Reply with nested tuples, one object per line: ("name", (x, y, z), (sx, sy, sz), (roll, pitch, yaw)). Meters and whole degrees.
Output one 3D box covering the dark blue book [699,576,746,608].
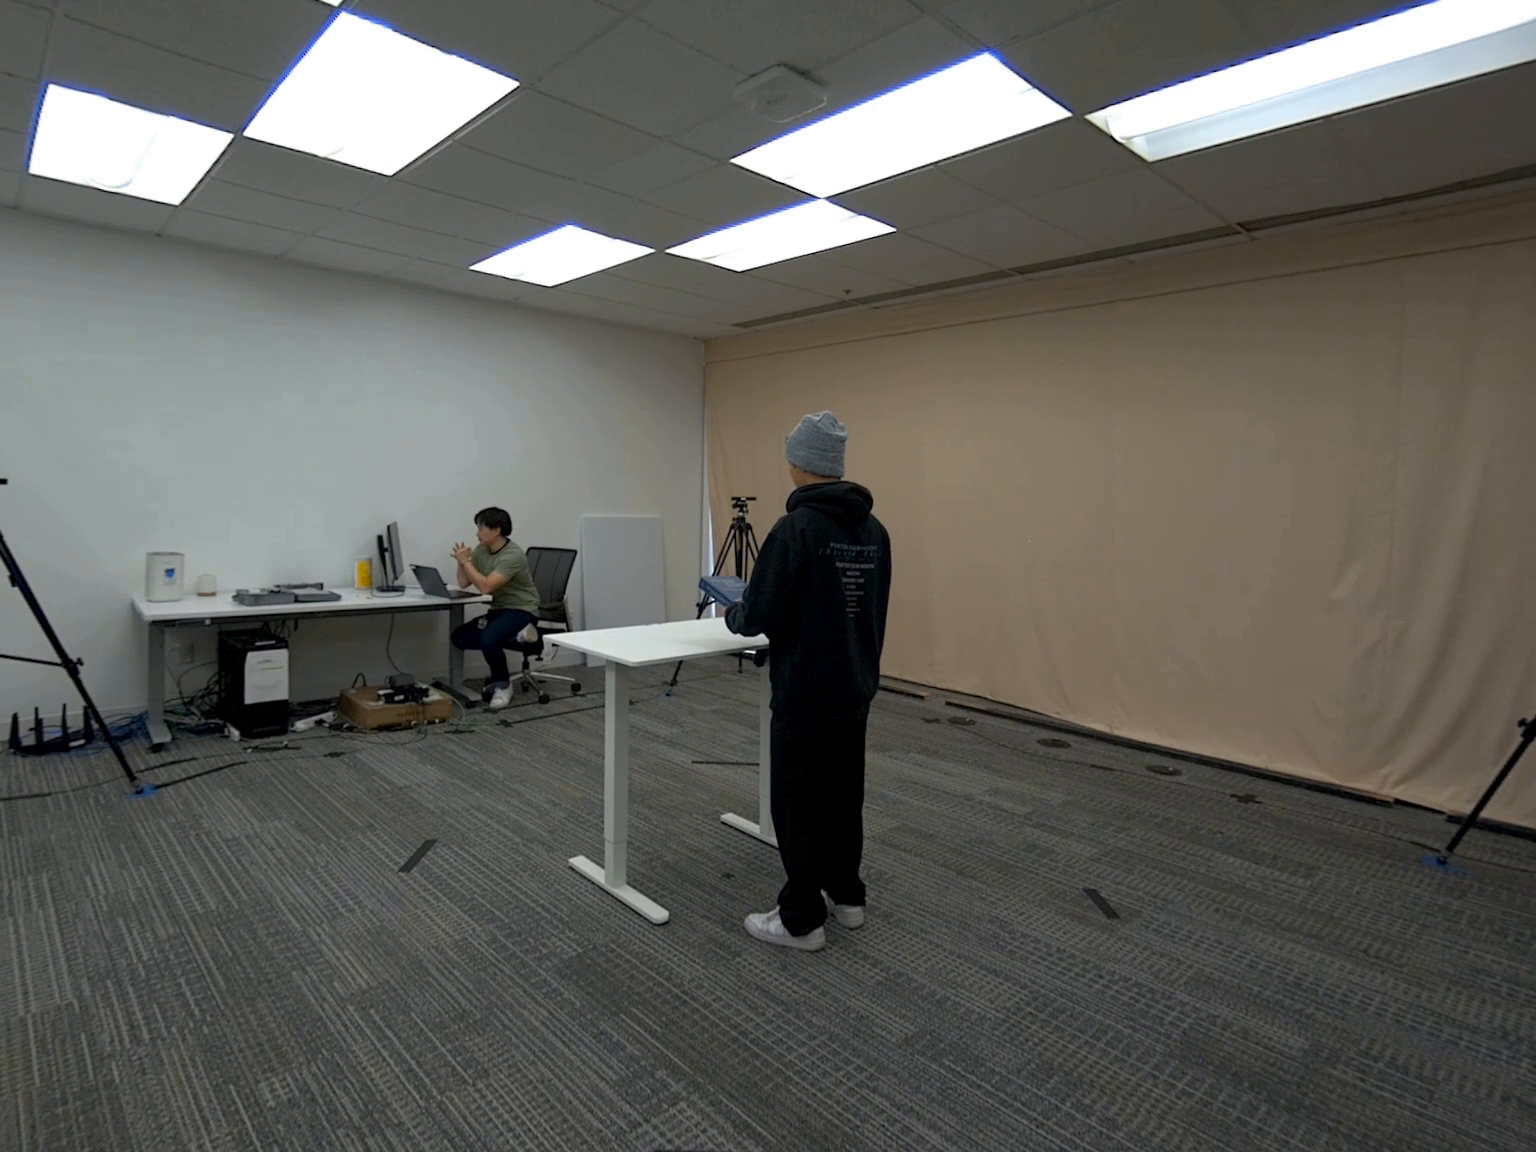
("dark blue book", (-0.119, 0.068, 2.971), (0.159, 0.045, 0.253), (-1, 24, -41))
